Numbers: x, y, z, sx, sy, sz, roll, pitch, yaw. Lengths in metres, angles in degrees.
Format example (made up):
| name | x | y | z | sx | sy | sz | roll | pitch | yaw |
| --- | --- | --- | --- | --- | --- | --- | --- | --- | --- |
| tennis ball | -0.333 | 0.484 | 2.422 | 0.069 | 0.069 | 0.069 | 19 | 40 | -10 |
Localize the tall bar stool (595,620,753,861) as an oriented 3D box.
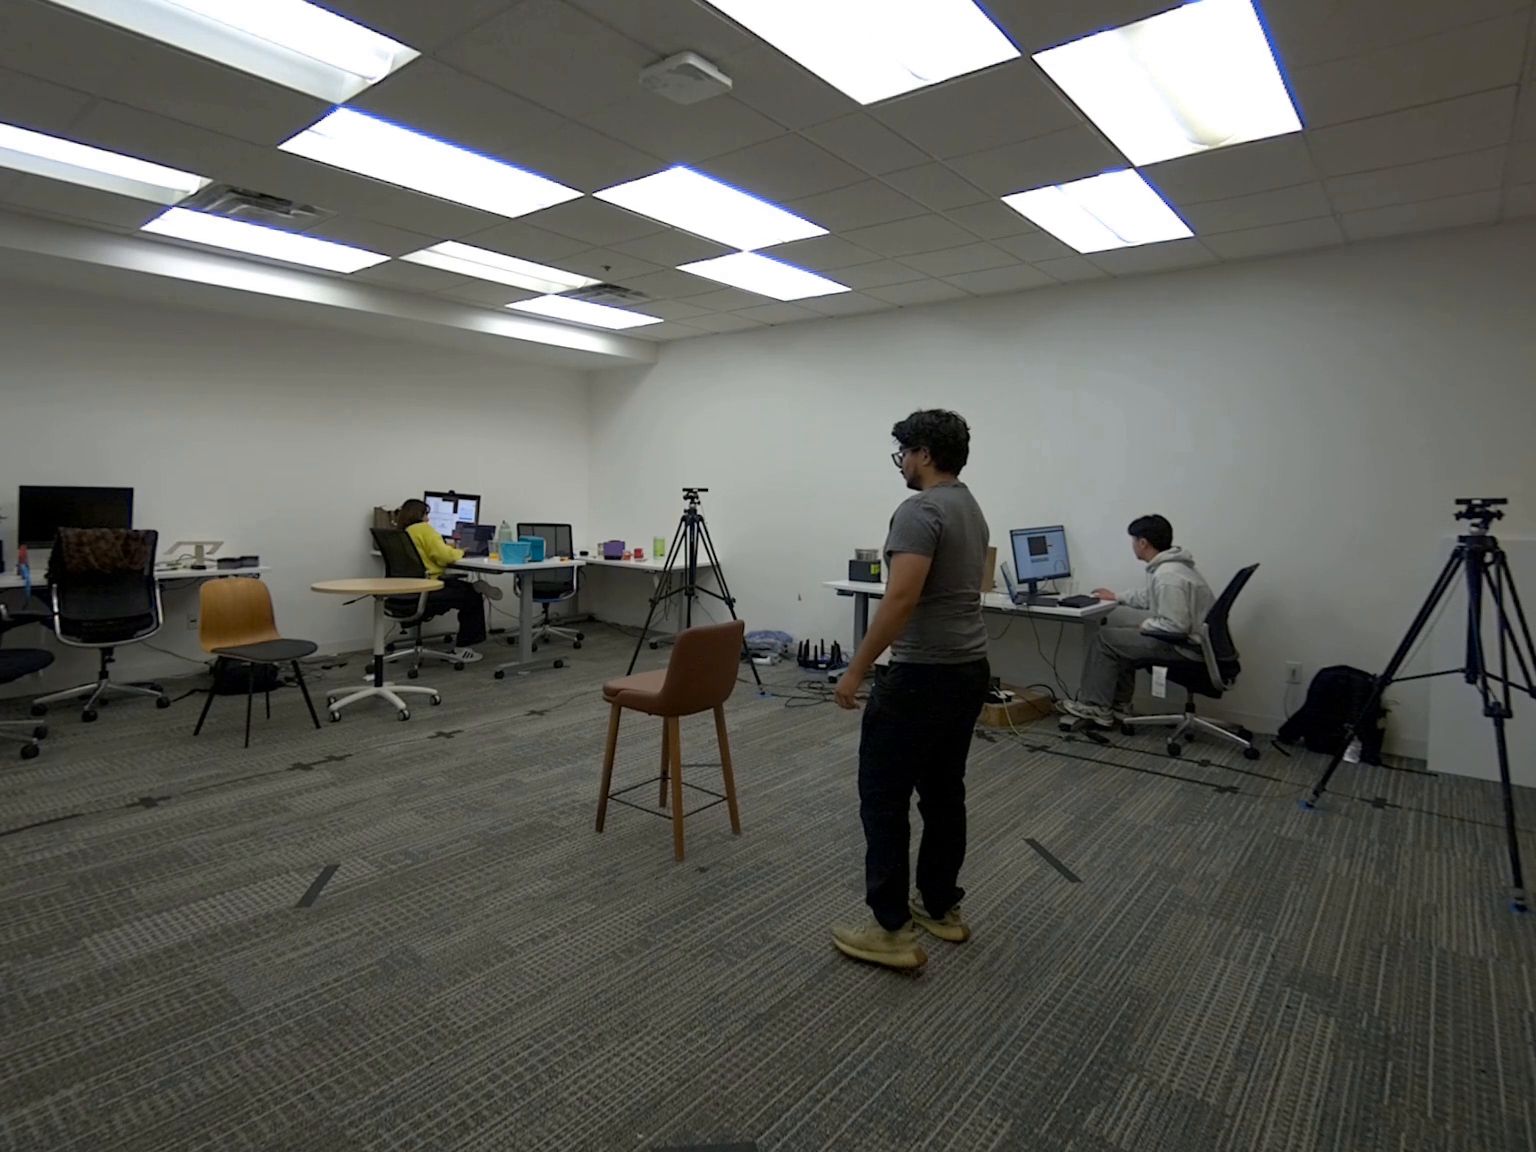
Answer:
| name | x | y | z | sx | sy | sz | roll | pitch | yaw |
| --- | --- | --- | --- | --- | --- | --- | --- | --- | --- |
| tall bar stool | -0.398 | 0.601 | 3.430 | 0.483 | 0.887 | 0.443 | 6 | 5 | 38 |
